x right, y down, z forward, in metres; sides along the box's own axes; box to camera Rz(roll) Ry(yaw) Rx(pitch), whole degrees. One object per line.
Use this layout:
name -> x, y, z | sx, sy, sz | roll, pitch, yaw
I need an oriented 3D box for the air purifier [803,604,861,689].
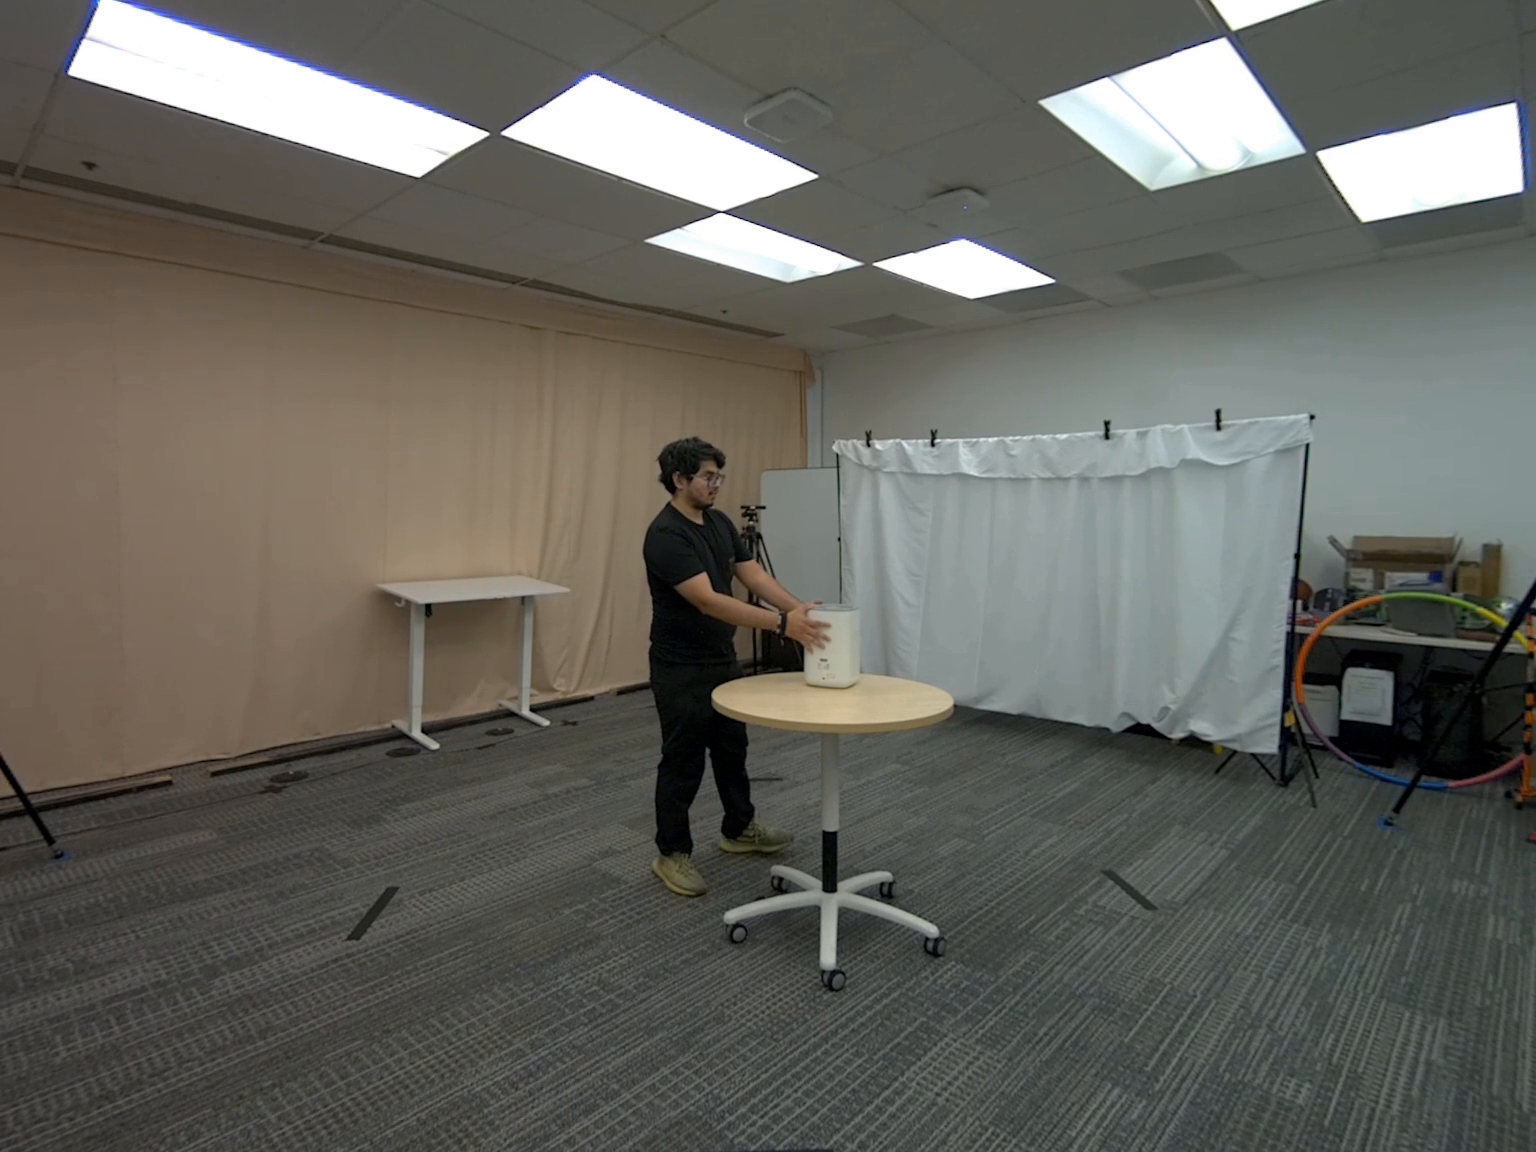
air purifier -> 0.222, 0.237, 2.865 | 0.175, 0.265, 0.167 | 2, 3, 25
